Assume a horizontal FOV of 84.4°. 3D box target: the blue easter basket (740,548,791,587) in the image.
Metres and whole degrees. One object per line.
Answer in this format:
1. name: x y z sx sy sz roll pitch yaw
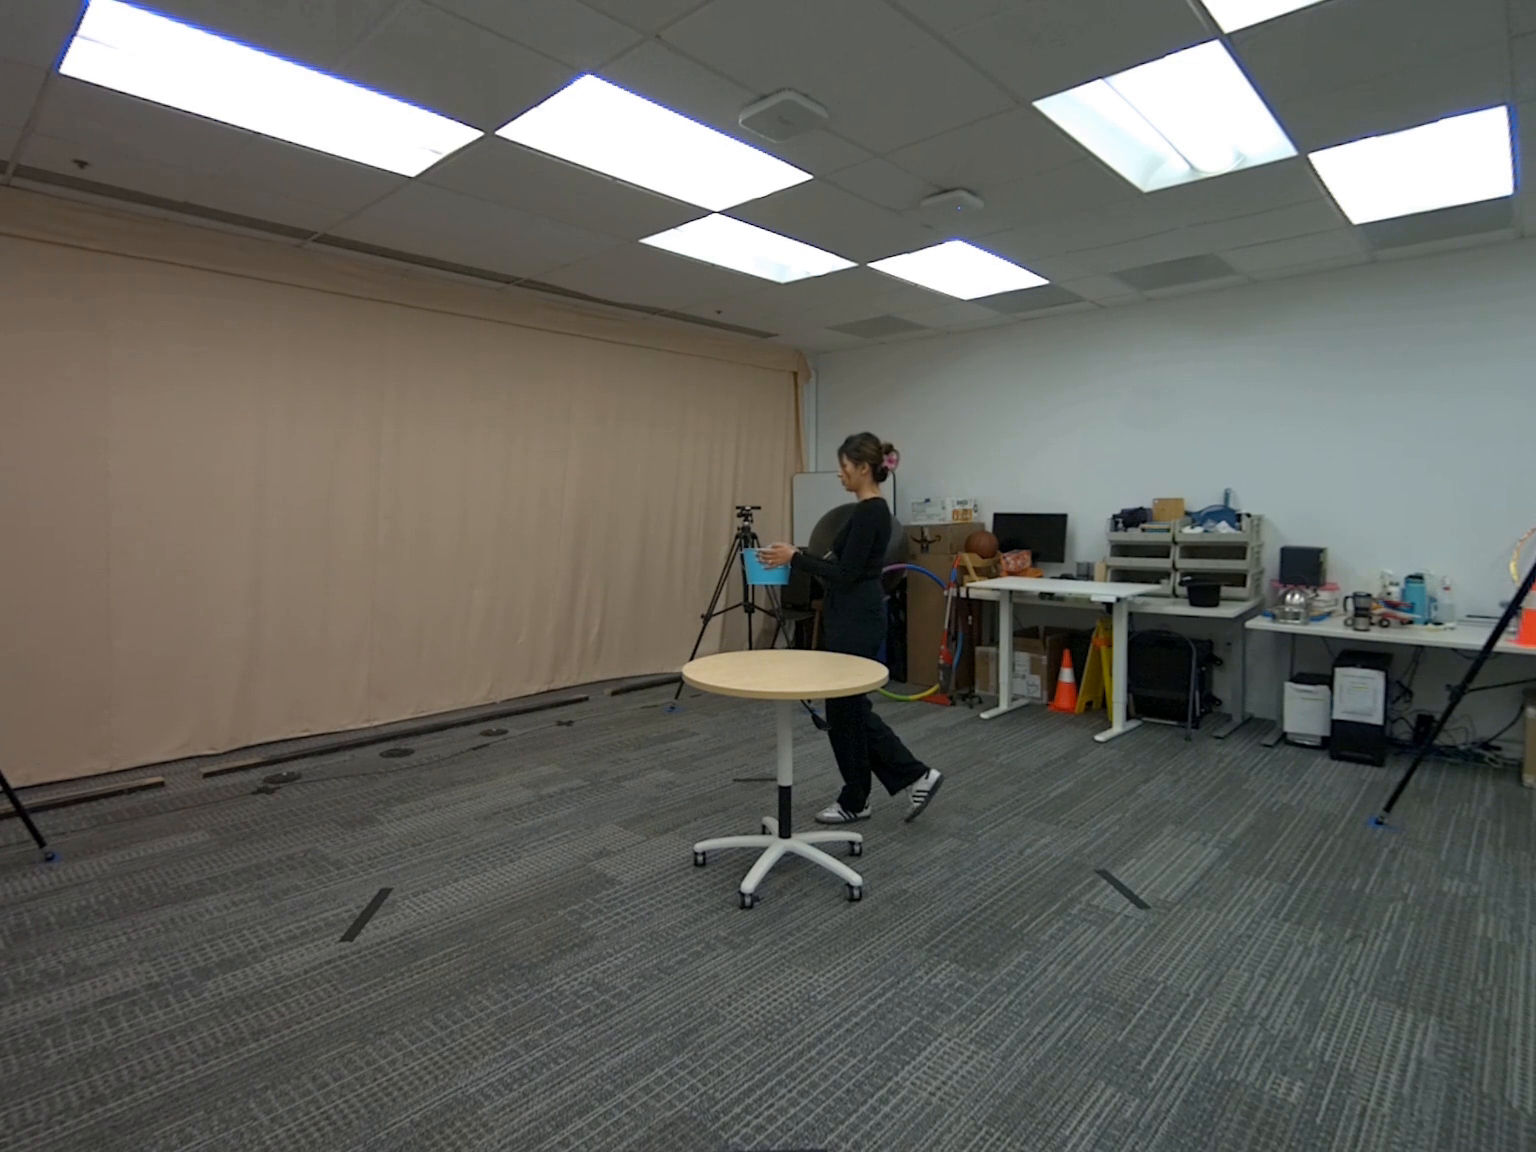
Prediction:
1. blue easter basket: 0.014 -0.037 3.731 0.243 0.156 0.244 1 0 -2
